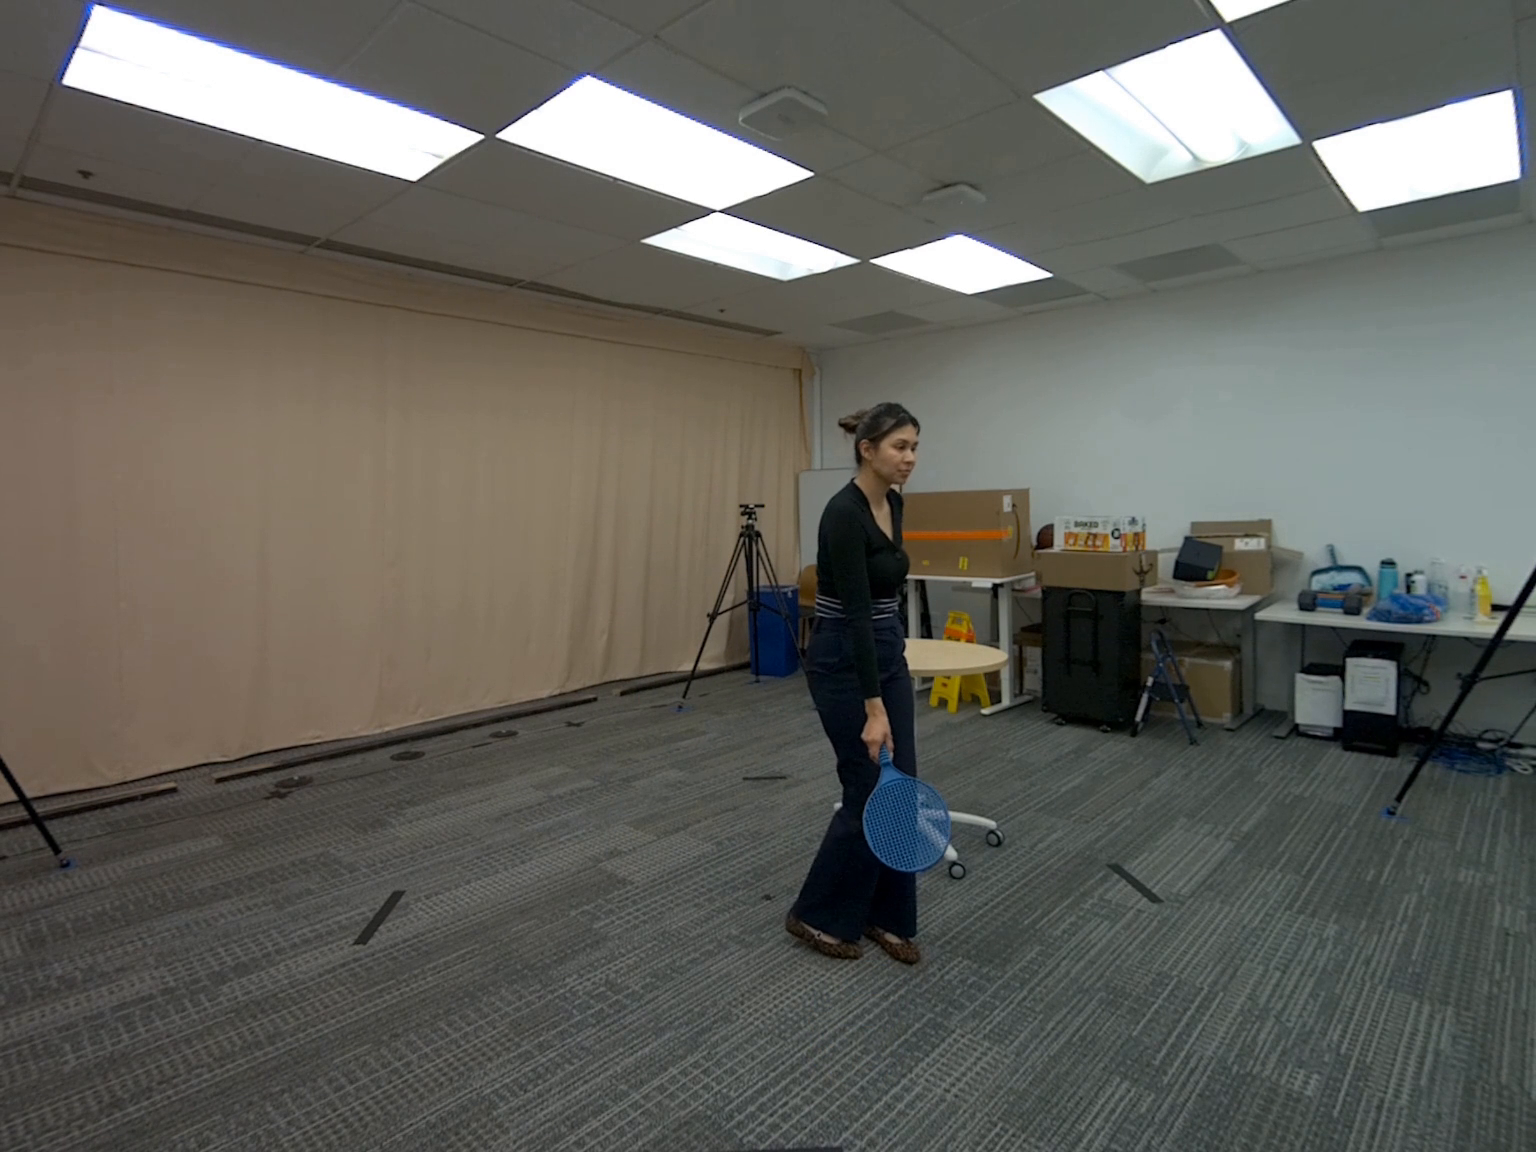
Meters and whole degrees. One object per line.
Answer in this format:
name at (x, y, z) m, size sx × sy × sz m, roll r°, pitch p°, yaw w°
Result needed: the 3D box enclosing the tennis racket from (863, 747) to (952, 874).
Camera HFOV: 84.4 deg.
tennis racket at (0.338, 0.560, 2.168) m, size 0.214 × 0.031 × 0.445 m, roll -26°, pitch 38°, yaw 1°
